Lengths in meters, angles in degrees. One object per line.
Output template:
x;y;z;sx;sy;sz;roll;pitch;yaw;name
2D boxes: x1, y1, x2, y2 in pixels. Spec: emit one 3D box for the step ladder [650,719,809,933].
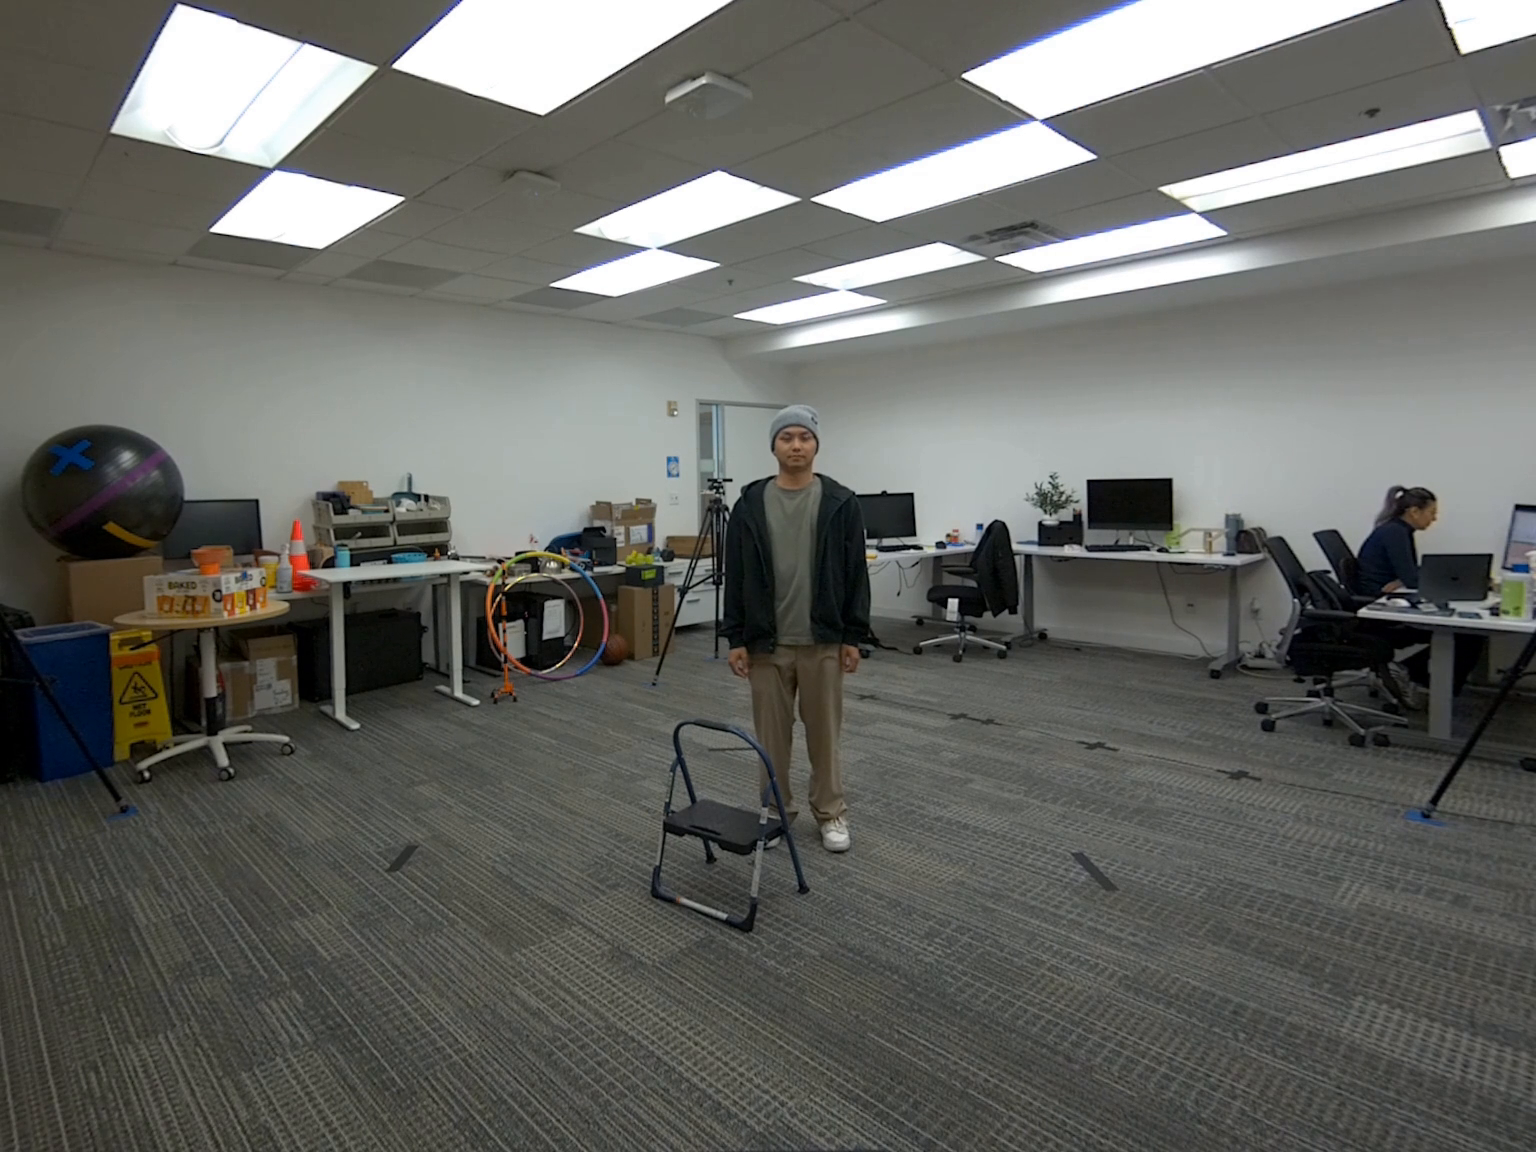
-0.135;0.770;2.867;0.443;0.604;0.341;2;5;35;step ladder
